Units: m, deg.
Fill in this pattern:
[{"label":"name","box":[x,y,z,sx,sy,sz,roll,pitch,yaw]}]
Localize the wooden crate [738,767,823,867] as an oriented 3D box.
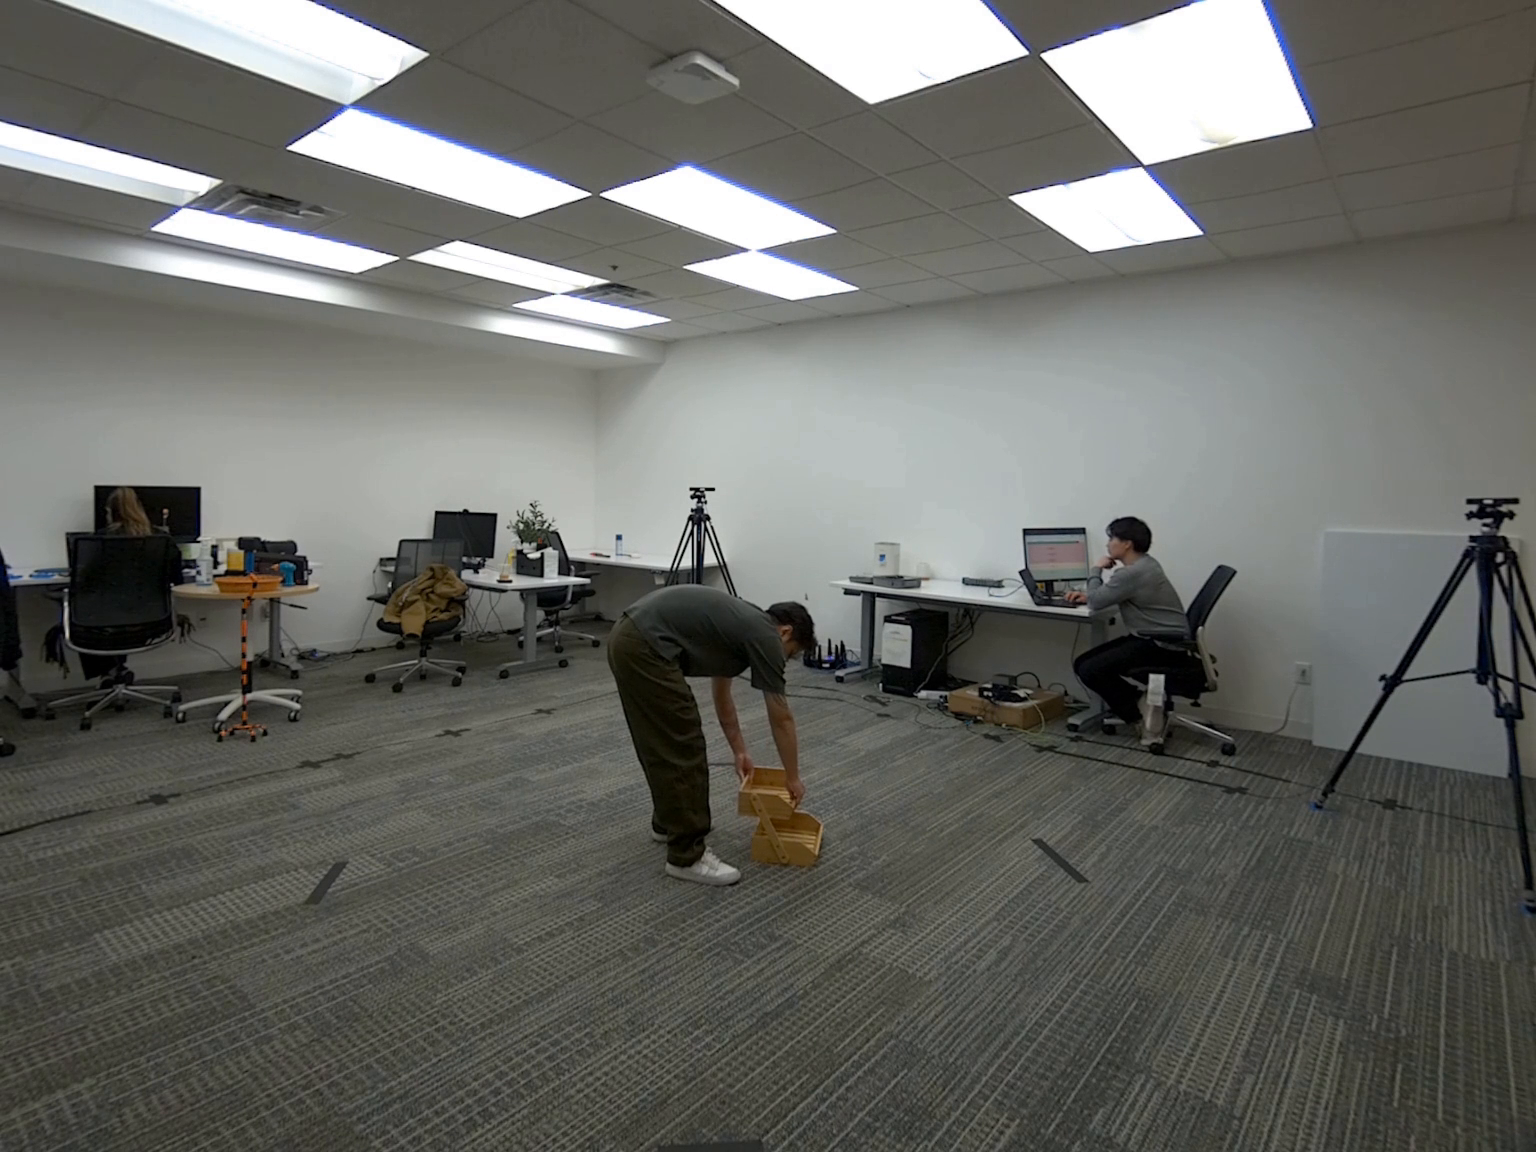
[{"label":"wooden crate","box":[0.057,0.932,3.305,0.305,0.272,0.322,4,5,9]}]
